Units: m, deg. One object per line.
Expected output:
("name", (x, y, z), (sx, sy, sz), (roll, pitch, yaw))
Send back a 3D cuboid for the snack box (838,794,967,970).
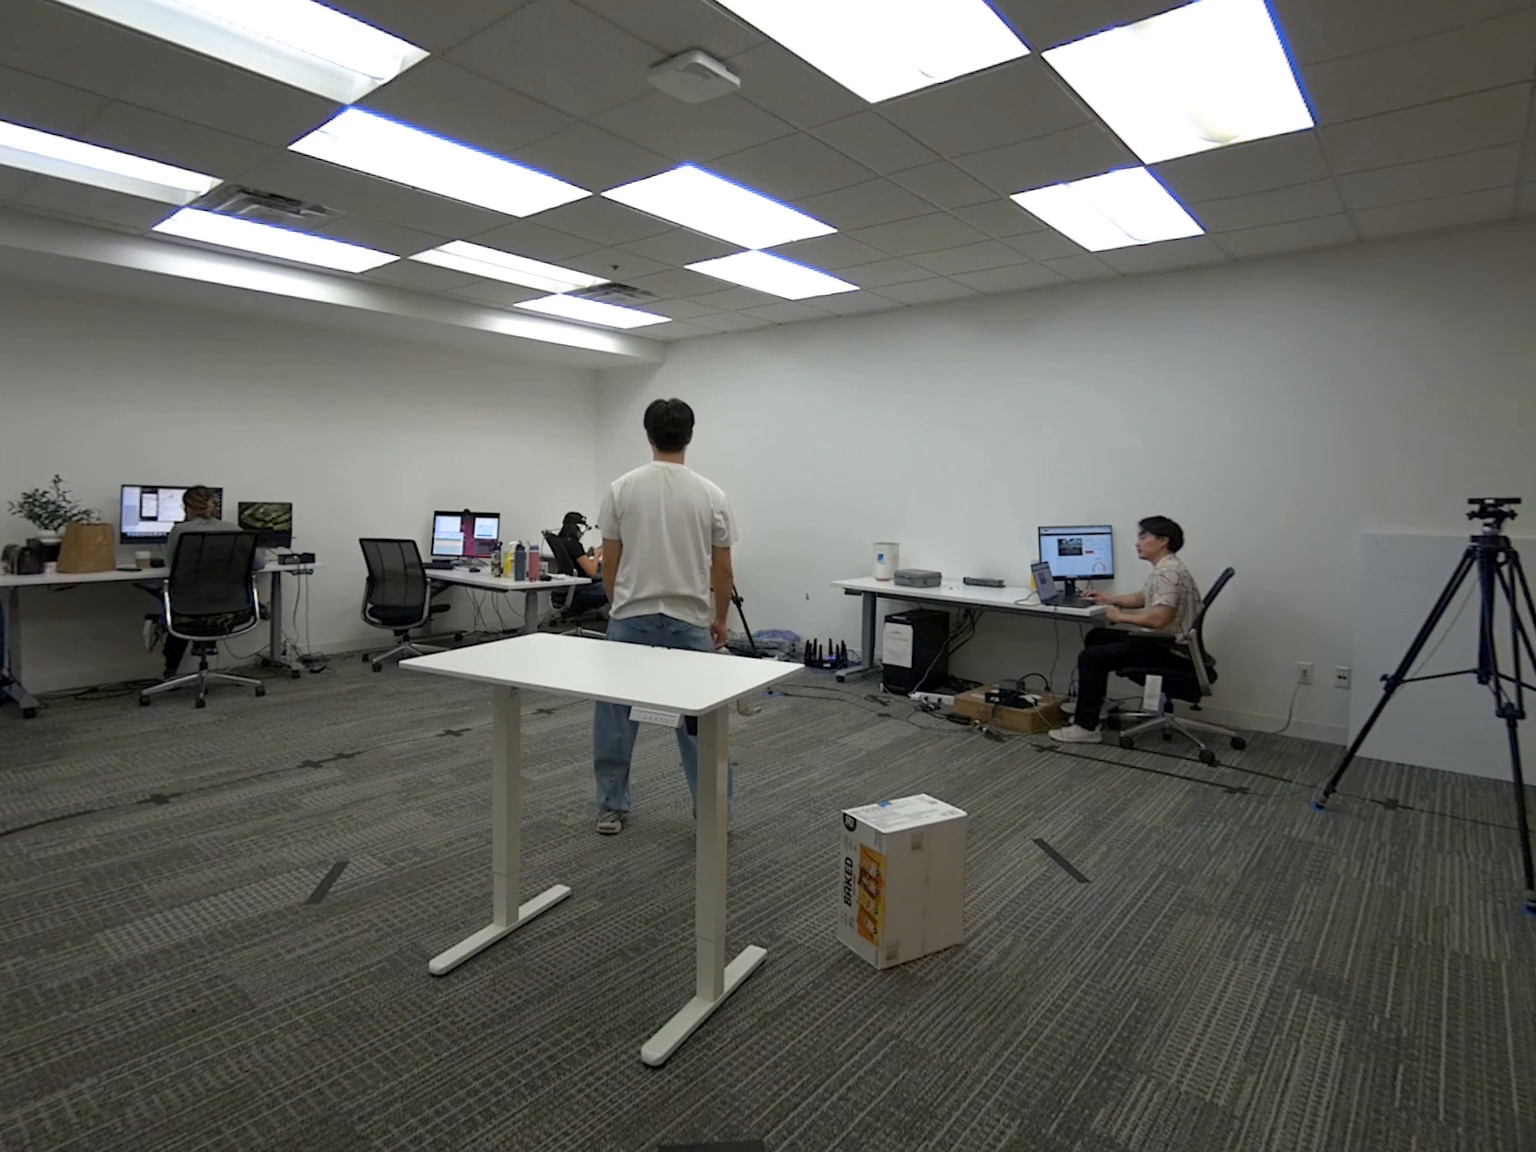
("snack box", (0.411, 0.925, 2.624), (0.331, 0.404, 0.212), (-1, 3, -32))
